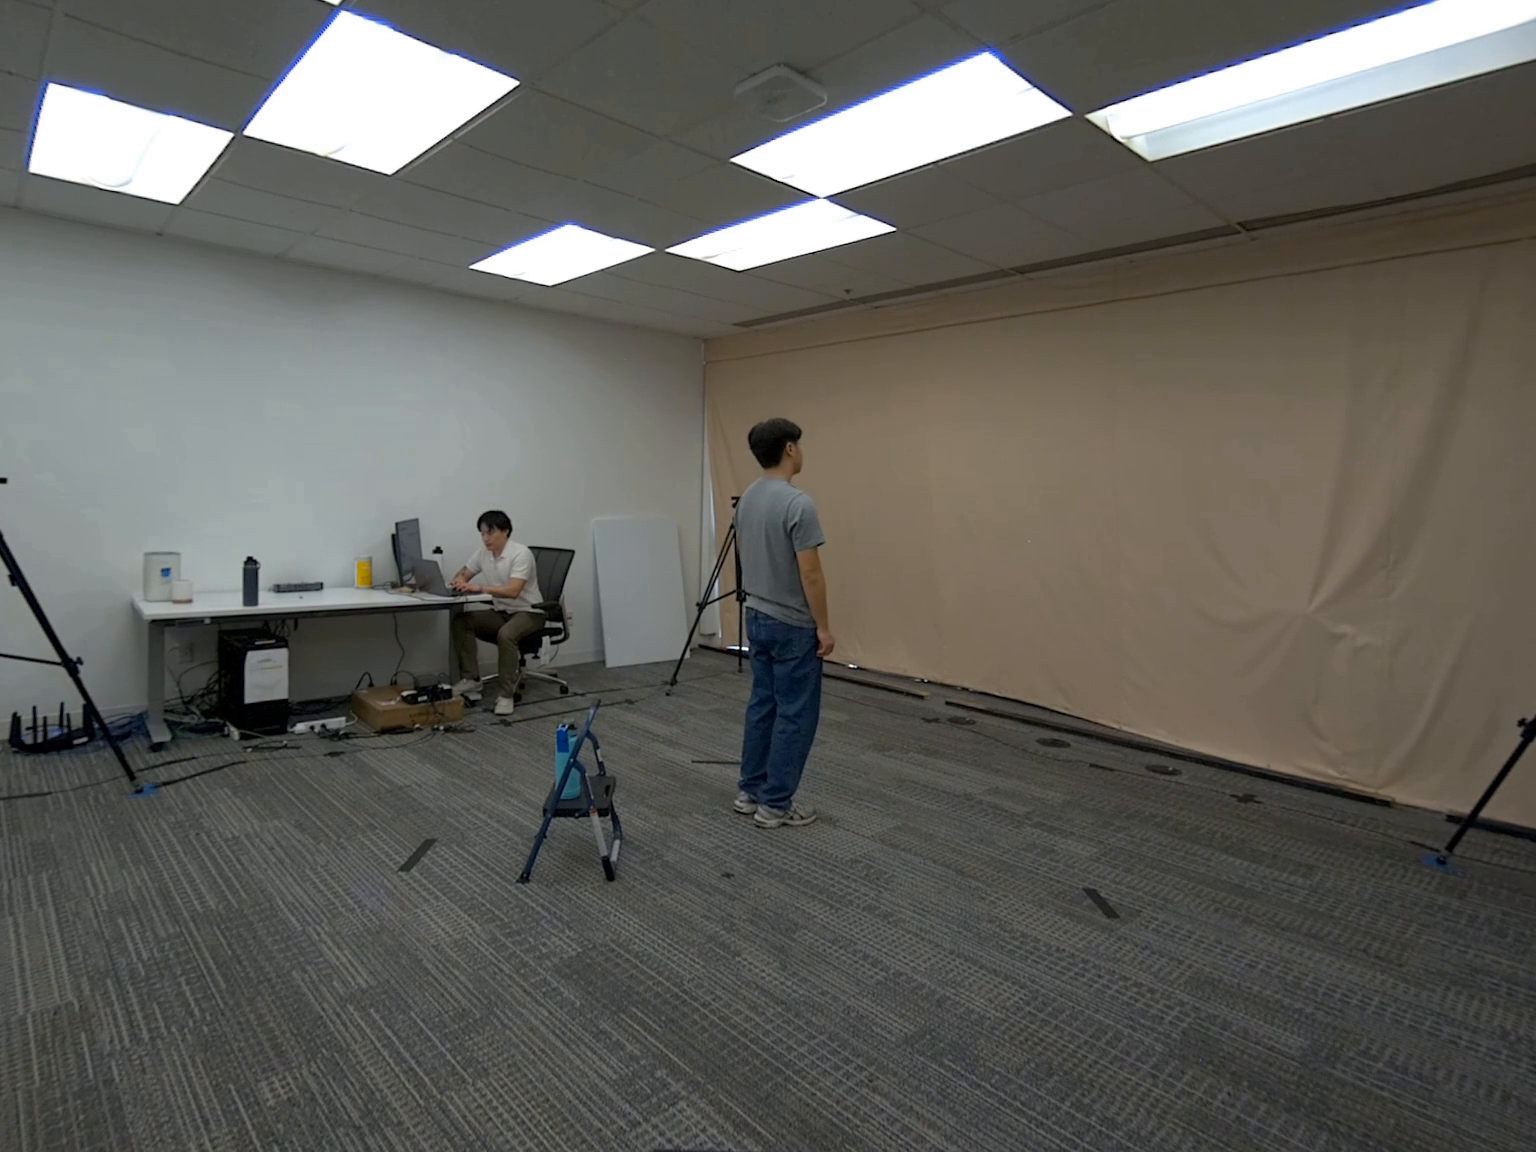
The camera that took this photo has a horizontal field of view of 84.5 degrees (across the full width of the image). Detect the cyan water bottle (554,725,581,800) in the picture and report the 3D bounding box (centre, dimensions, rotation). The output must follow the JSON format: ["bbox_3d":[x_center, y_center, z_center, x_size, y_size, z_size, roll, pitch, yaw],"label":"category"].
[{"bbox_3d":[-0.764,0.684,3.158,0.092,0.282,0.093,-1,6,-1],"label":"cyan water bottle"}]
